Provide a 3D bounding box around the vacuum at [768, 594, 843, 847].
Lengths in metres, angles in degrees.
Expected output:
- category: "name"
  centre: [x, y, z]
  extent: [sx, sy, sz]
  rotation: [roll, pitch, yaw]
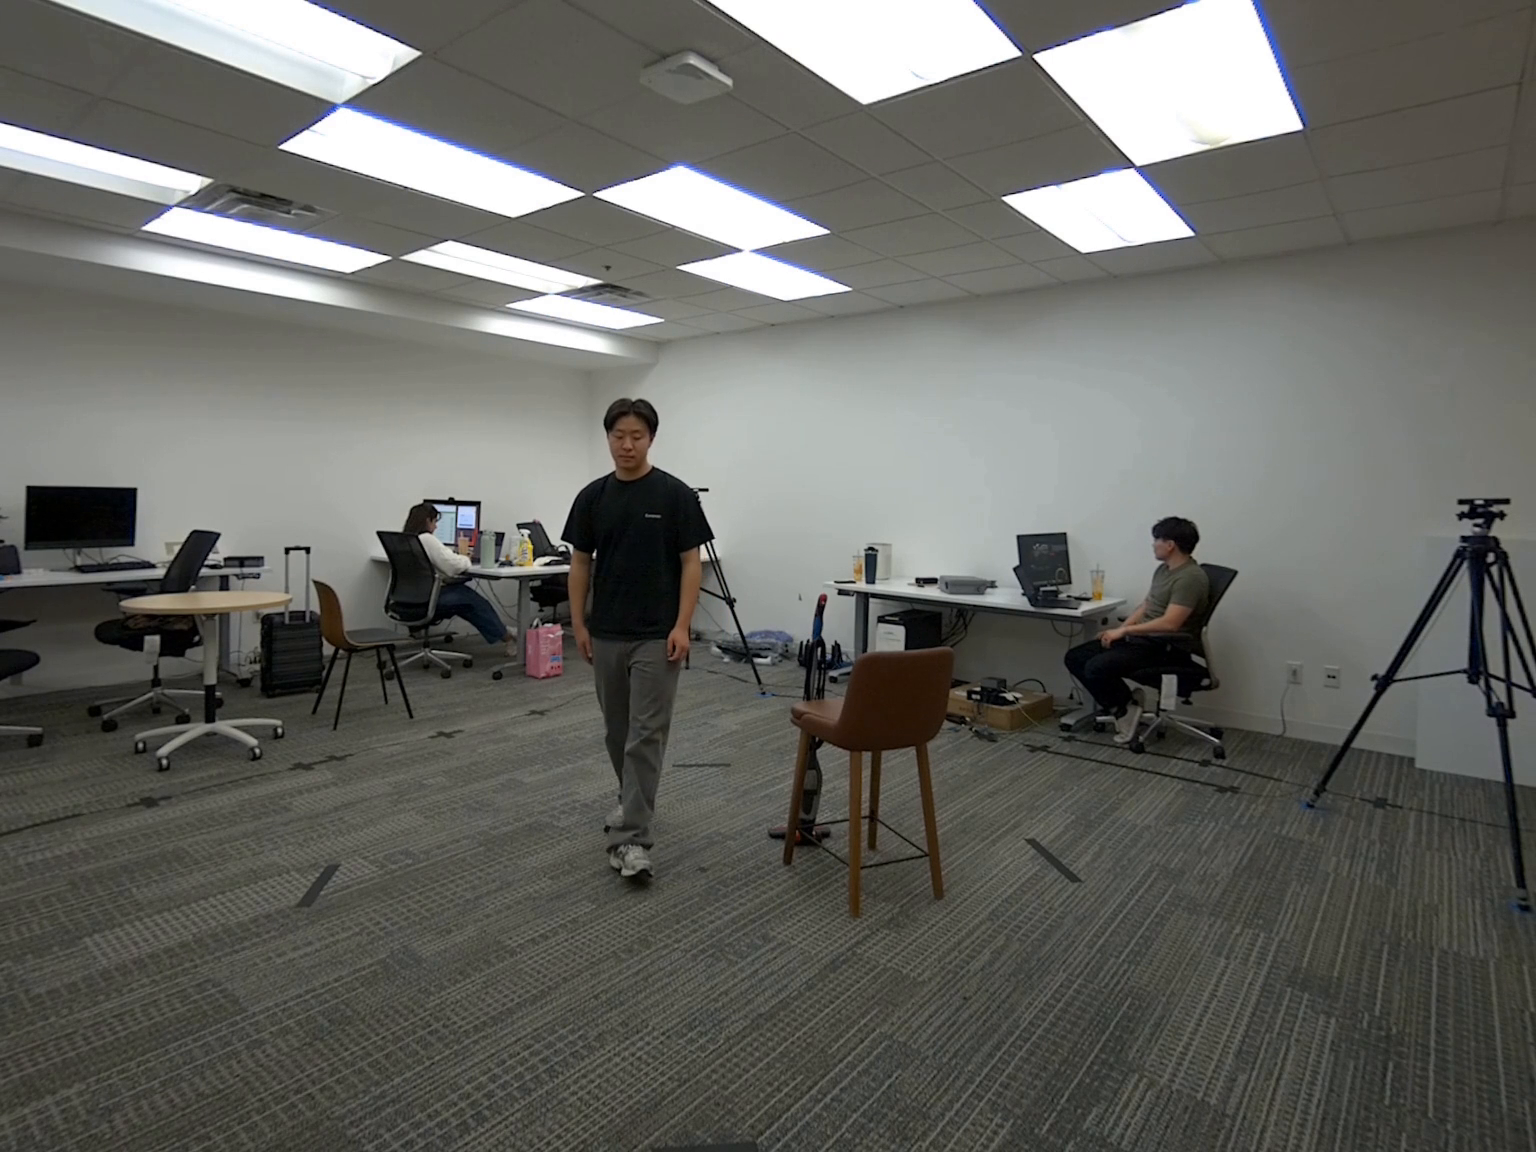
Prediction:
- category: "vacuum"
  centre: [0.151, 0.558, 3.215]
  extent: [0.253, 1.033, 0.146]
  rotation: [3, 17, 0]
